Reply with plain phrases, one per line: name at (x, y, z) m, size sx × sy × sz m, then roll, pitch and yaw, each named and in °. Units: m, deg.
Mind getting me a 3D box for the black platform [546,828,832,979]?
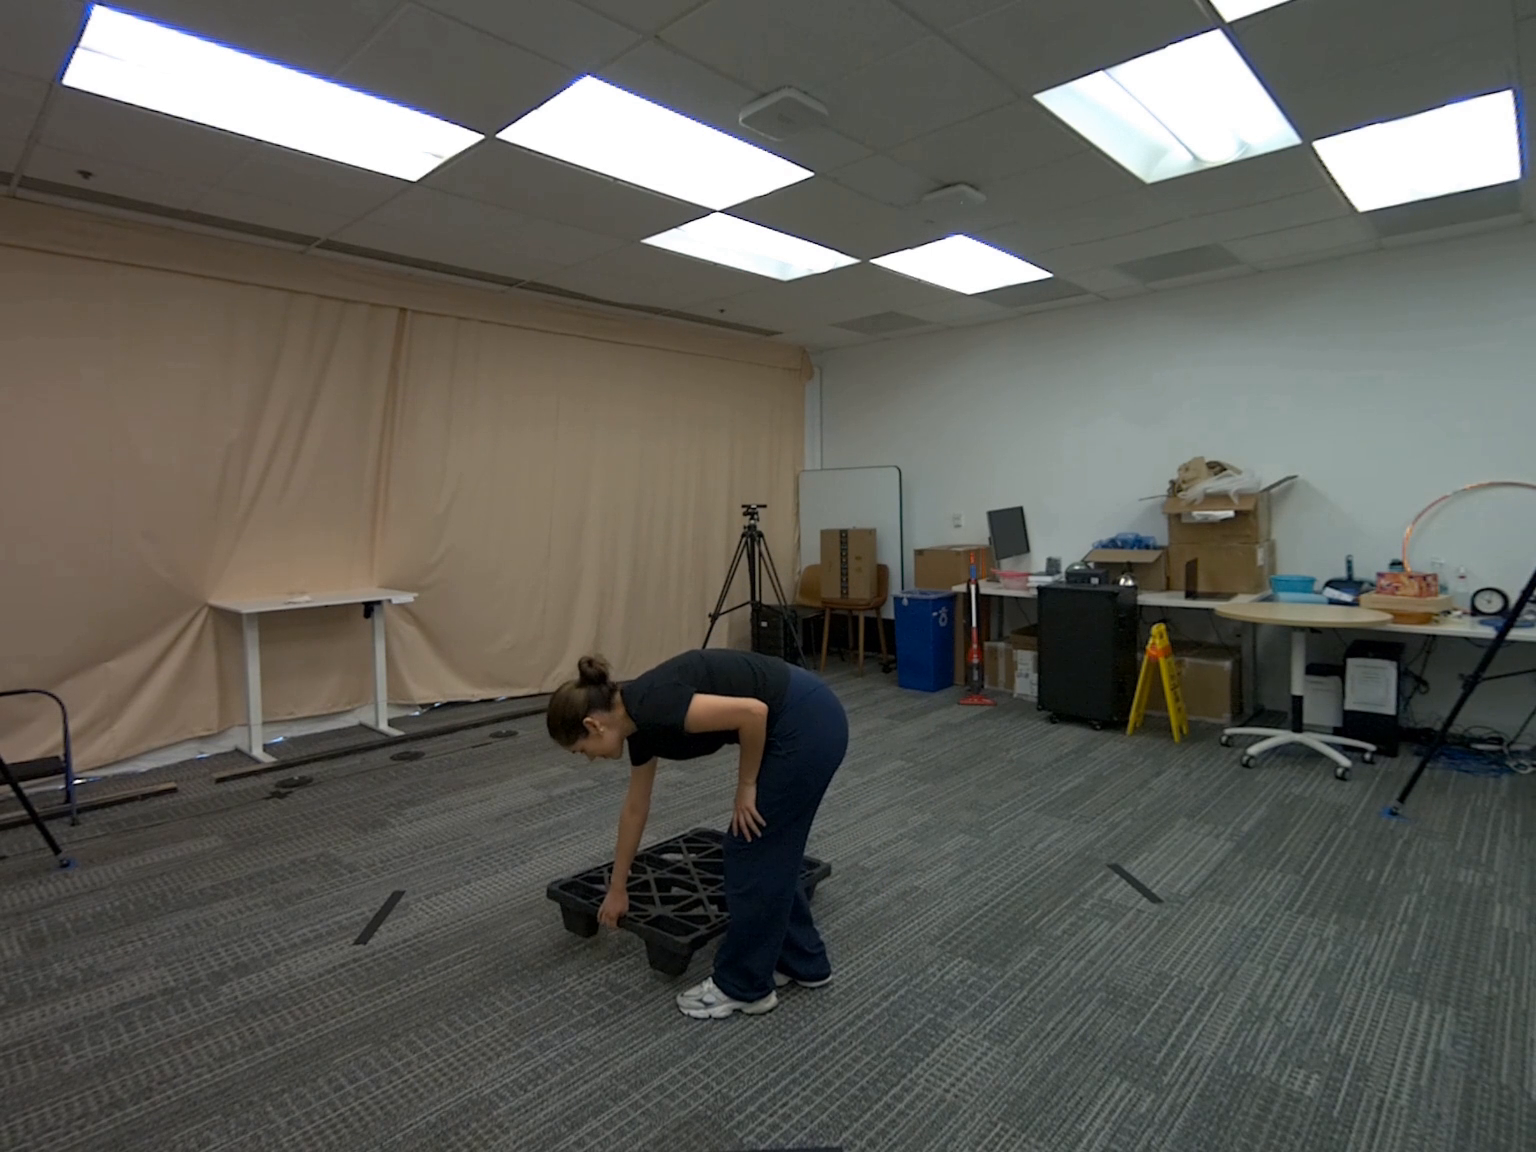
black platform at (-0.228, 1.070, 2.822) m, size 0.624 × 0.143 × 0.781 m, roll 3°, pitch 3°, yaw 36°
